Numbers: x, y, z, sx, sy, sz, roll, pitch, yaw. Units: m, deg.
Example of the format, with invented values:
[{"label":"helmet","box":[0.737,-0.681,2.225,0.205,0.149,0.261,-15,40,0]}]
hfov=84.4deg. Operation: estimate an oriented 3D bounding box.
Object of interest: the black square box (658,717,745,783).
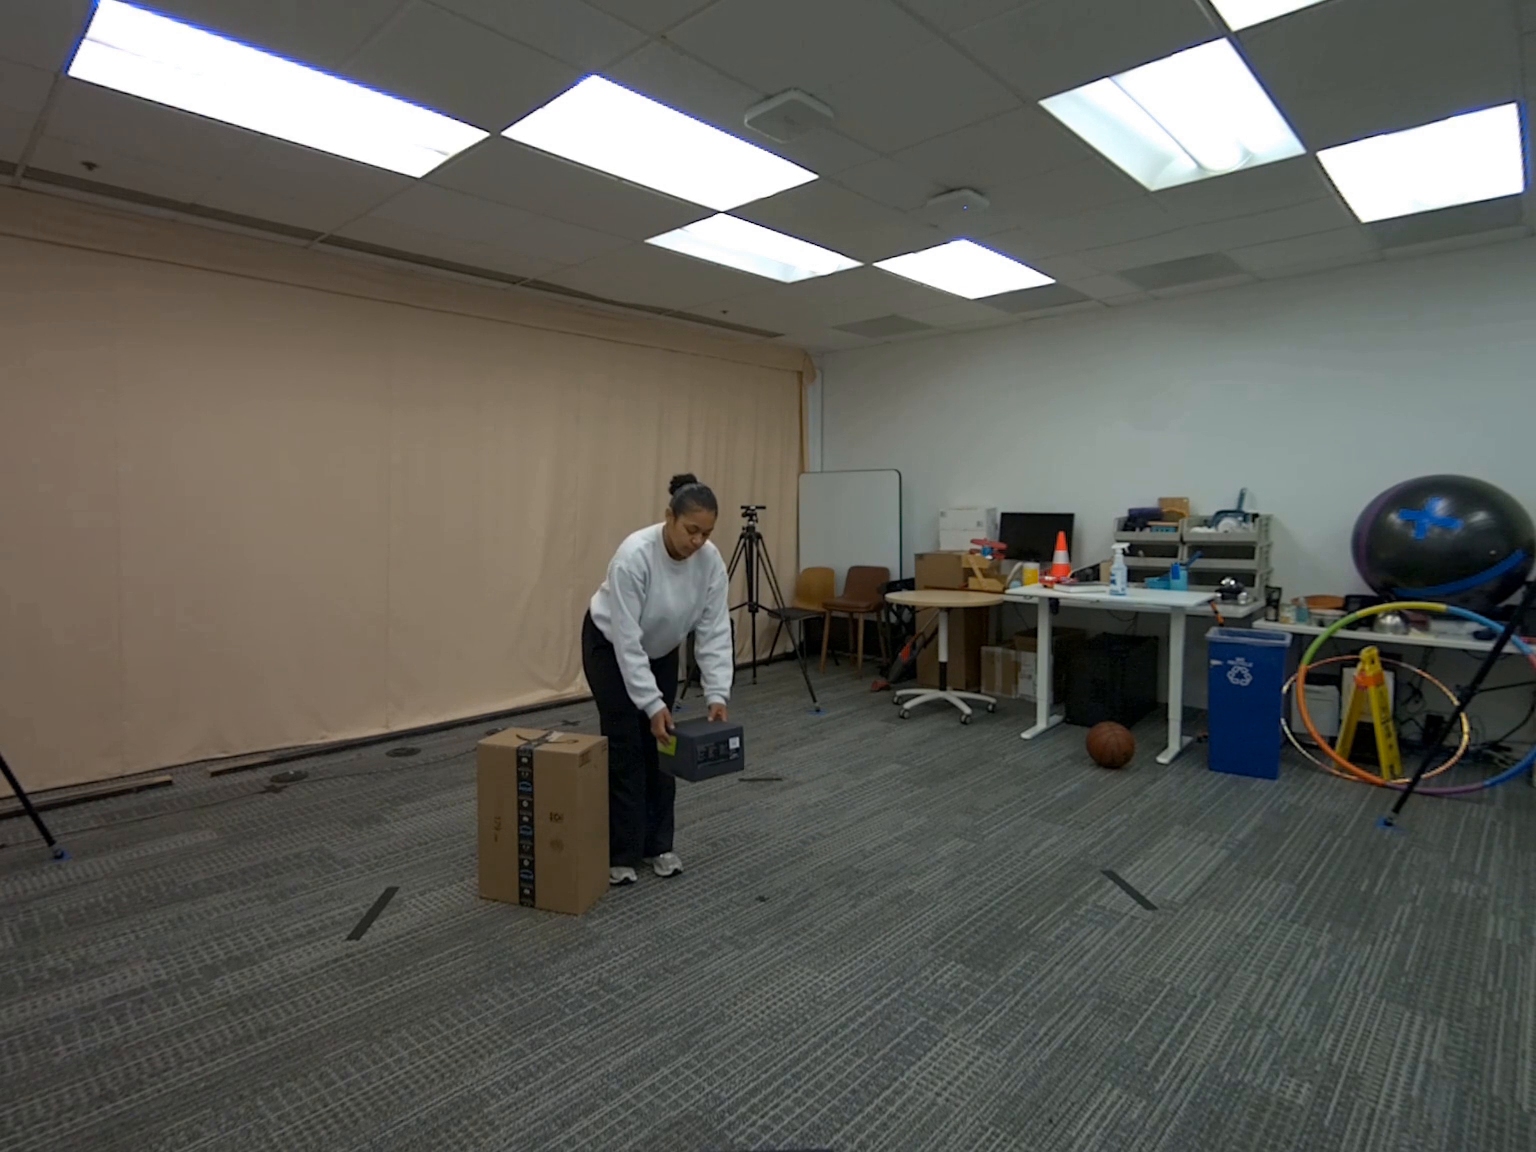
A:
[{"label":"black square box","box":[-0.237,0.608,2.925,0.211,0.156,0.235,-5,3,-37]}]
